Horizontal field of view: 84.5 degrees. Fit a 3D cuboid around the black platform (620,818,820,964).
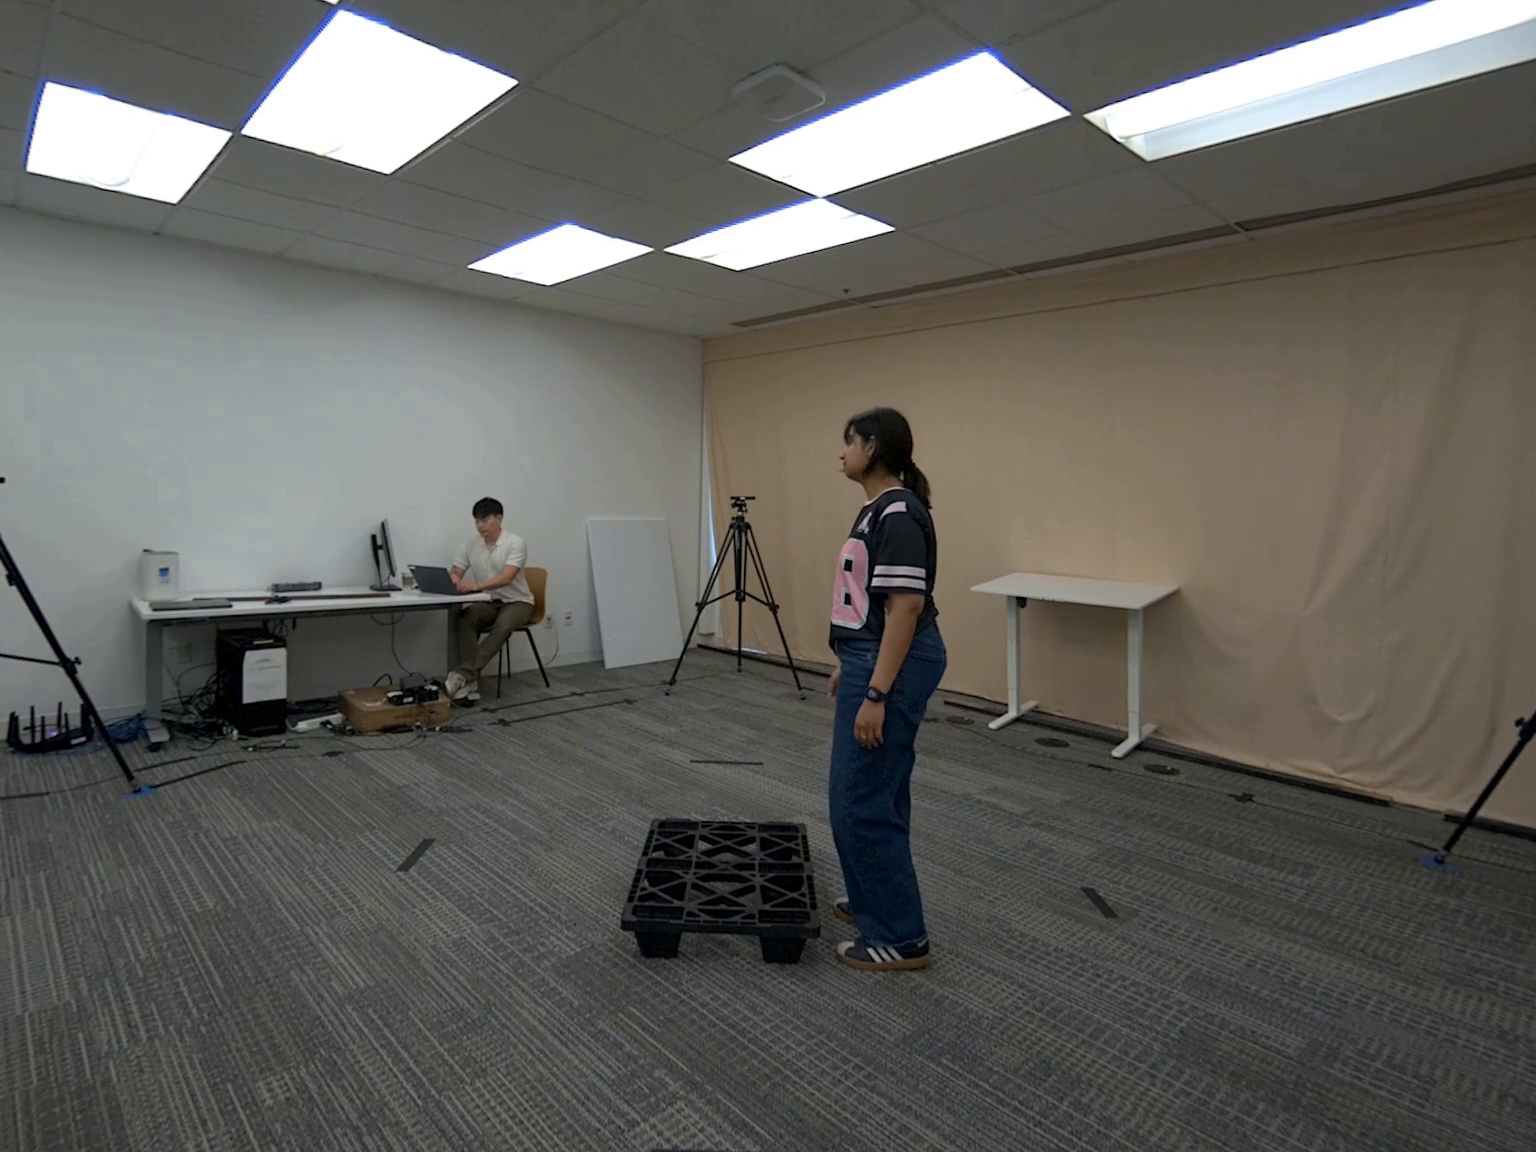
[{"bbox_3d":[-0.152,1.059,2.893,0.606,0.143,0.807,2,6,0],"label":"black platform"}]
